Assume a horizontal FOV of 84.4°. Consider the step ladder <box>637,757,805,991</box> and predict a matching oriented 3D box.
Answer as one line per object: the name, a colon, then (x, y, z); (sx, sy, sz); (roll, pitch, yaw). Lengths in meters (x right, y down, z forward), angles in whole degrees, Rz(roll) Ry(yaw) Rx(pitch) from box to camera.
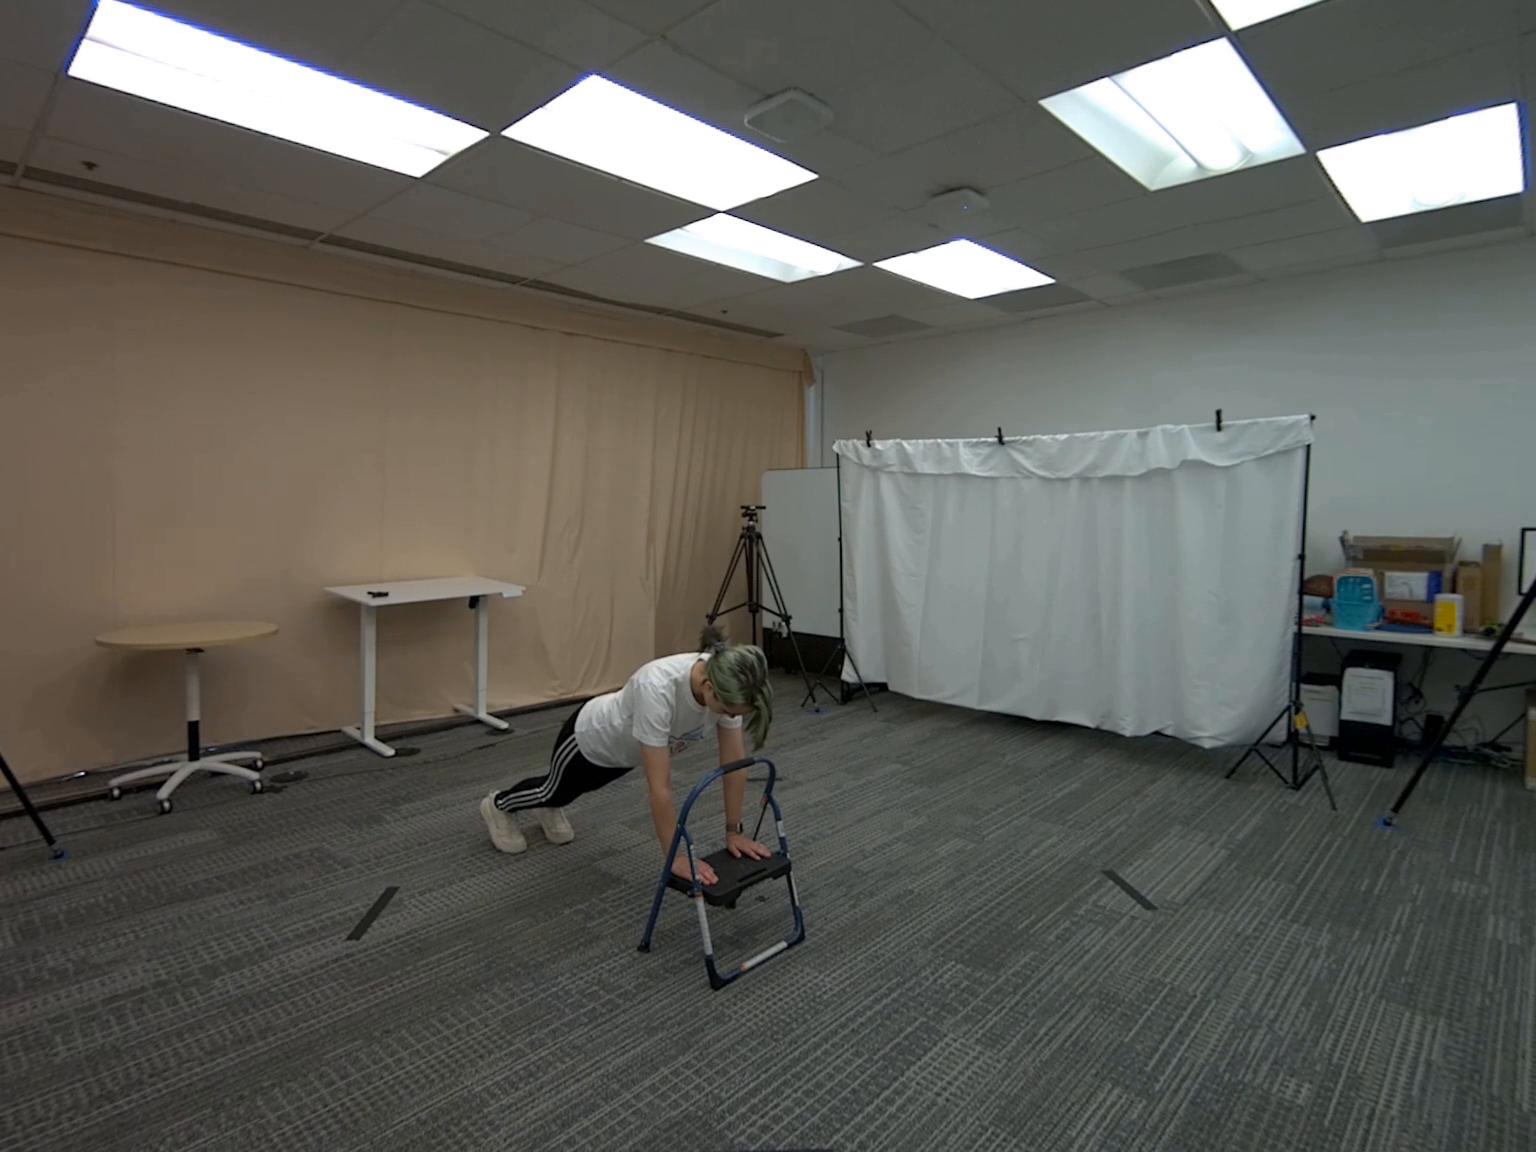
step ladder: (-0.139, 0.870, 2.661); (0.361, 0.605, 0.417); (3, 4, 42)
